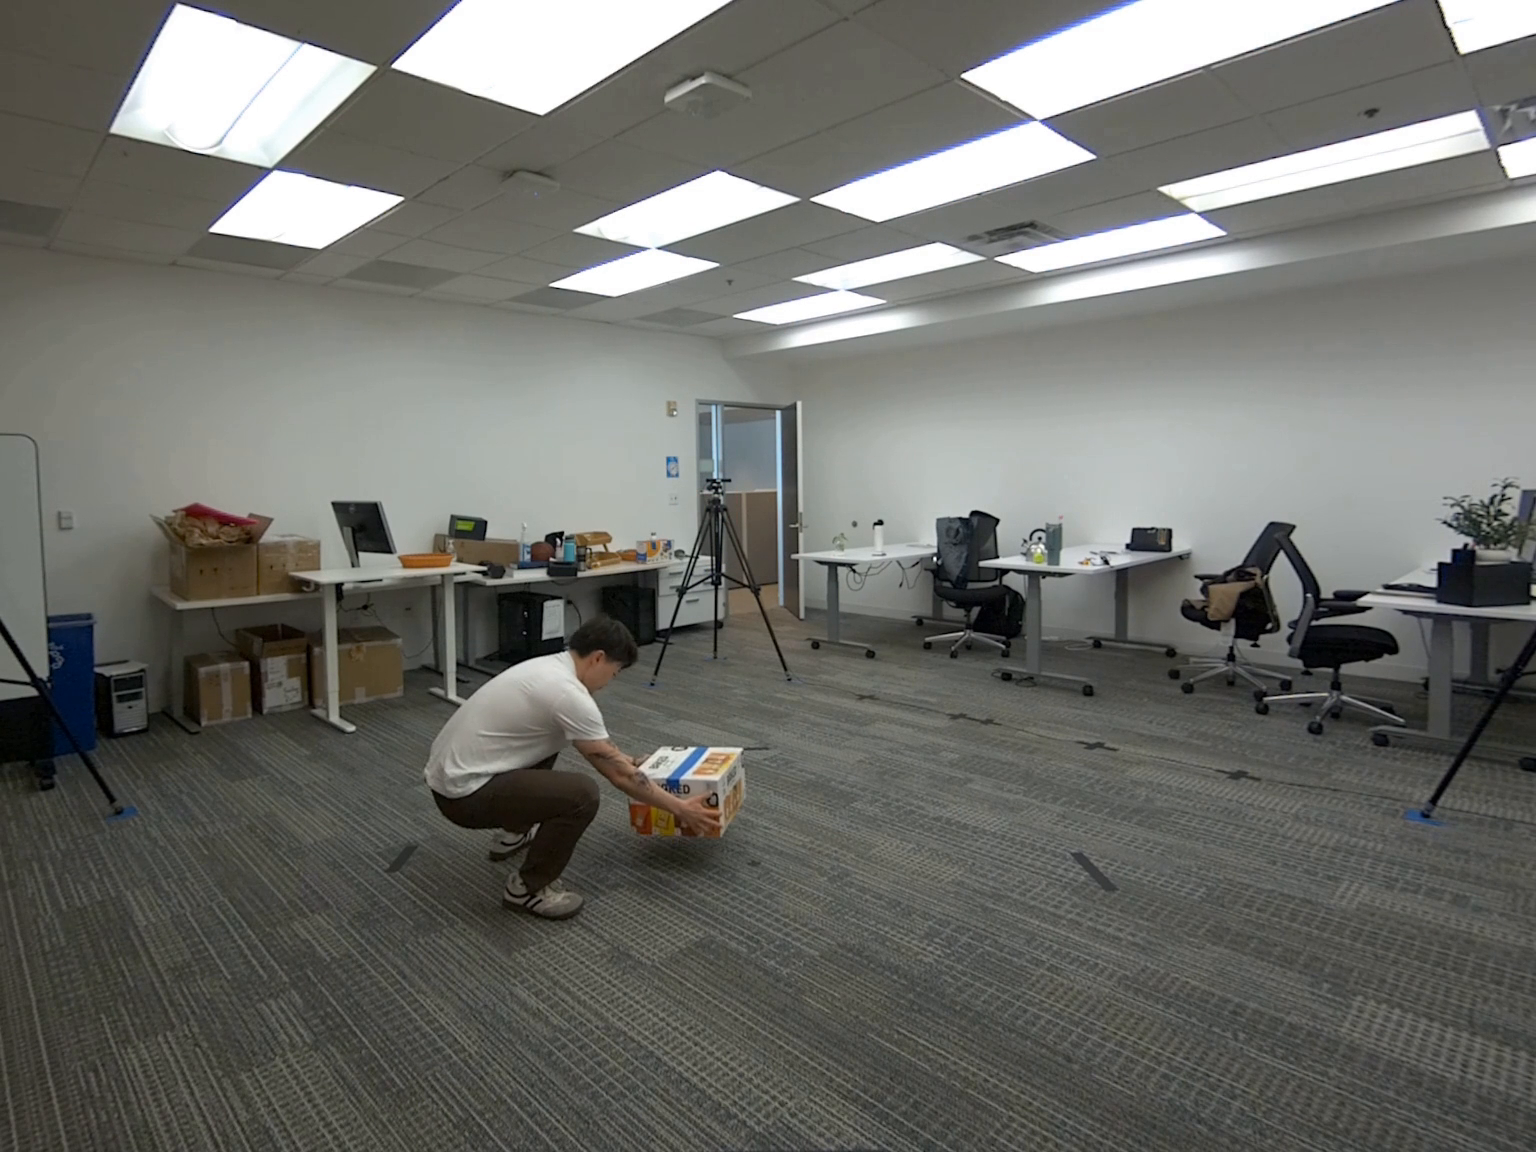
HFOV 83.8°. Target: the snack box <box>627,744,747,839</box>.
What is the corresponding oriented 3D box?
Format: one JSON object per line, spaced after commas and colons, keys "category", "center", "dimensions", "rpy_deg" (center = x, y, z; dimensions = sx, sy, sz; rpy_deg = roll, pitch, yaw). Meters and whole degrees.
{"category": "snack box", "center": [-0.295, 0.792, 3.208], "dimensions": [0.344, 0.205, 0.401], "rpy_deg": [-2, 4, 12]}
